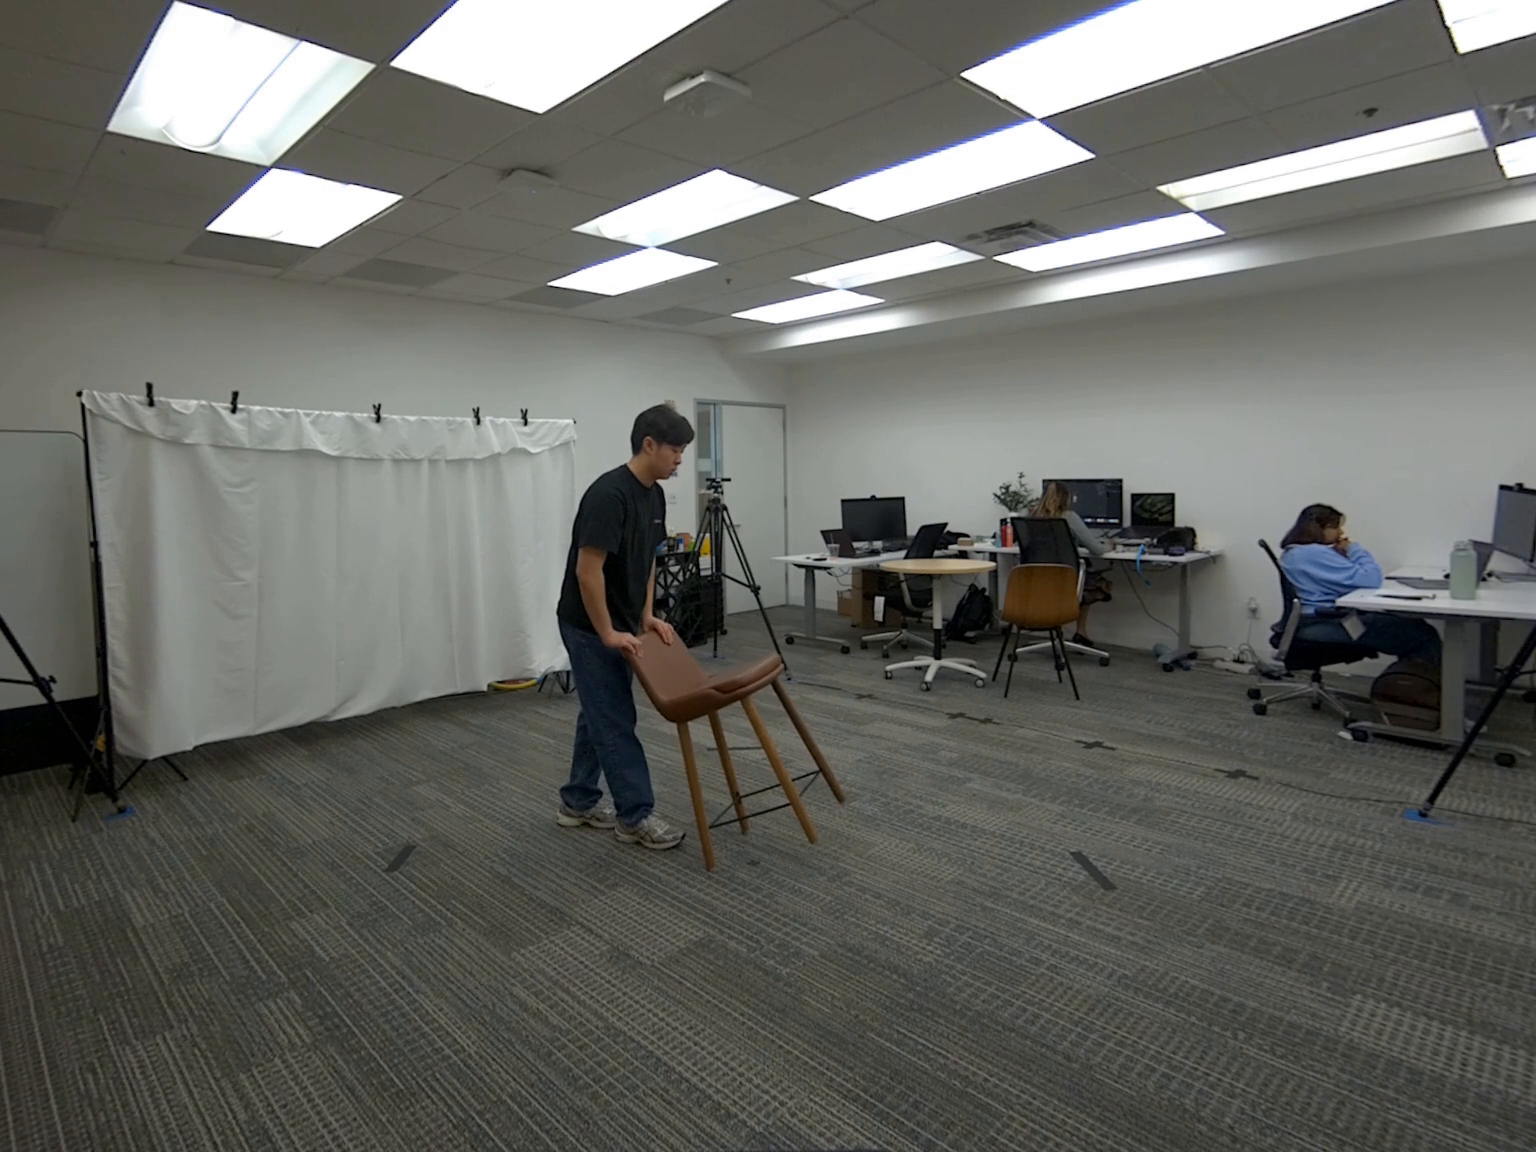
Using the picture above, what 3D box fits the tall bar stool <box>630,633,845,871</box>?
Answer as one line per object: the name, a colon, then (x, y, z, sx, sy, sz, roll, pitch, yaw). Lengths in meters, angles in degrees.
tall bar stool: (-0.127, 0.555, 3.177, 0.472, 0.896, 0.448, -26, -6, 22)
